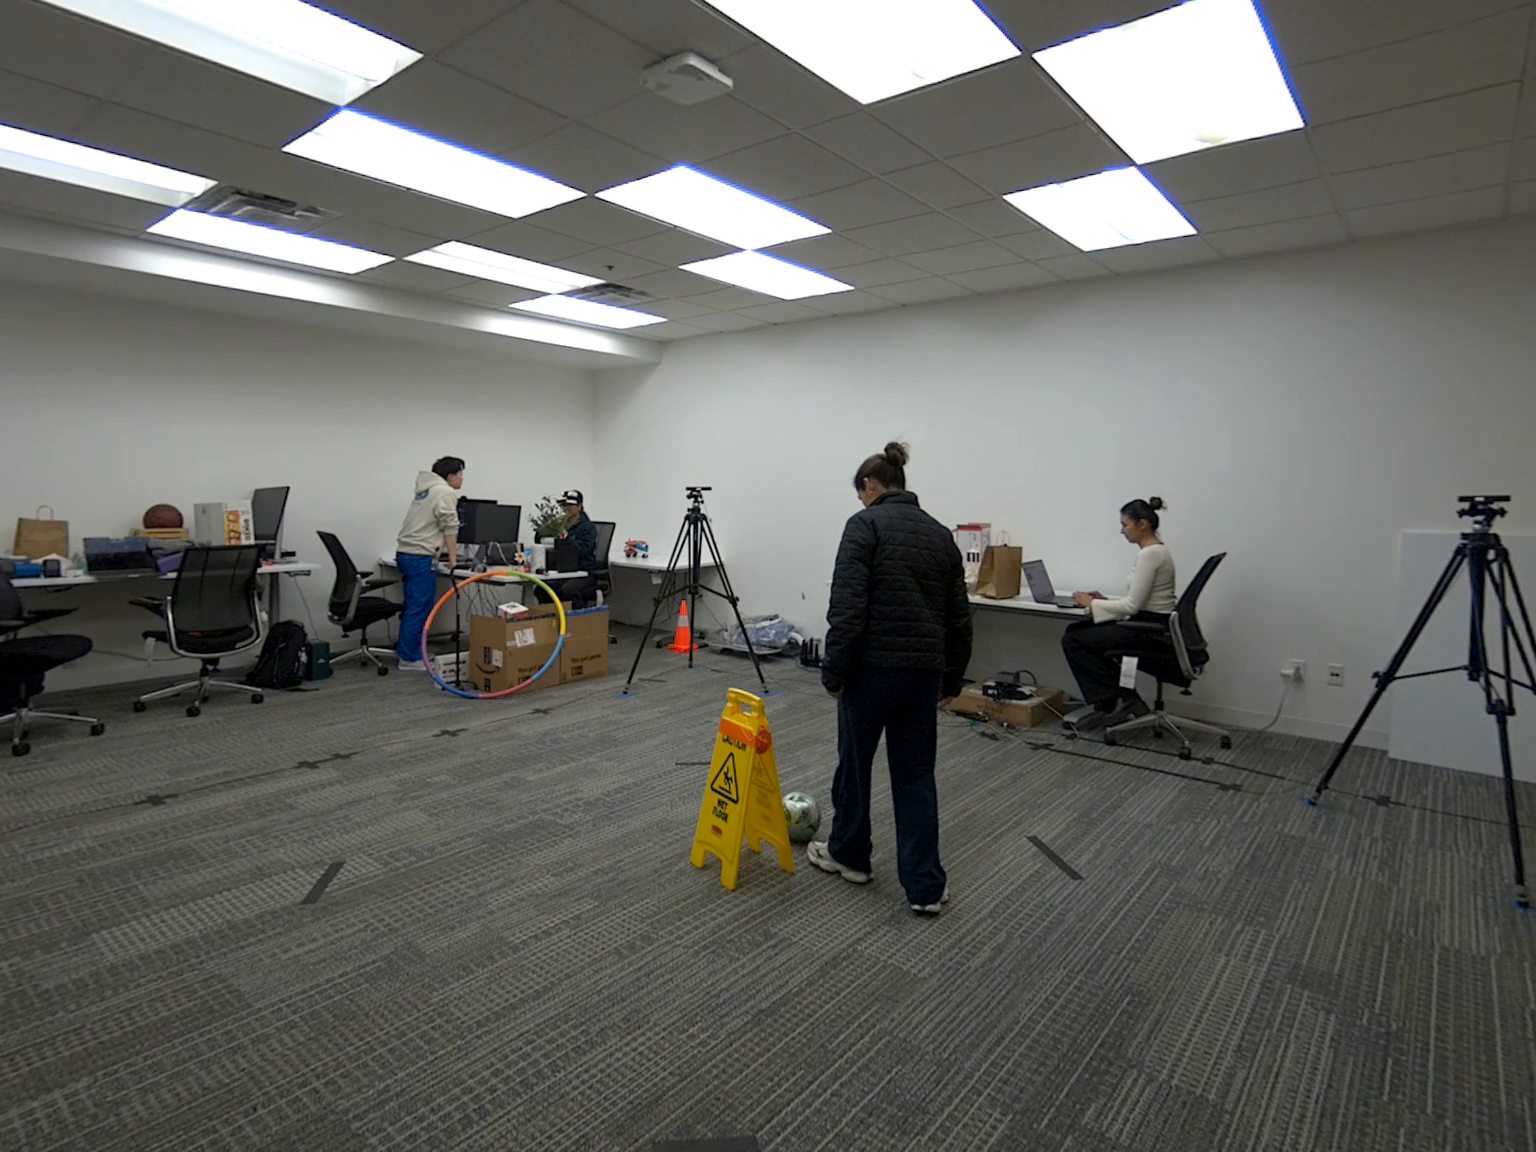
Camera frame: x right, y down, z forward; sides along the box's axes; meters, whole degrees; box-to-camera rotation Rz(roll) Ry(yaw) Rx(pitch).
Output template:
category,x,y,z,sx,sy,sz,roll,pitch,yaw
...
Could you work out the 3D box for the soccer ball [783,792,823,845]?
category,x,y,z,sx,sy,sz,roll,pitch,yaw
soccer ball,0.114,0.950,3.383,0.187,0.187,0.188,1,4,-2
